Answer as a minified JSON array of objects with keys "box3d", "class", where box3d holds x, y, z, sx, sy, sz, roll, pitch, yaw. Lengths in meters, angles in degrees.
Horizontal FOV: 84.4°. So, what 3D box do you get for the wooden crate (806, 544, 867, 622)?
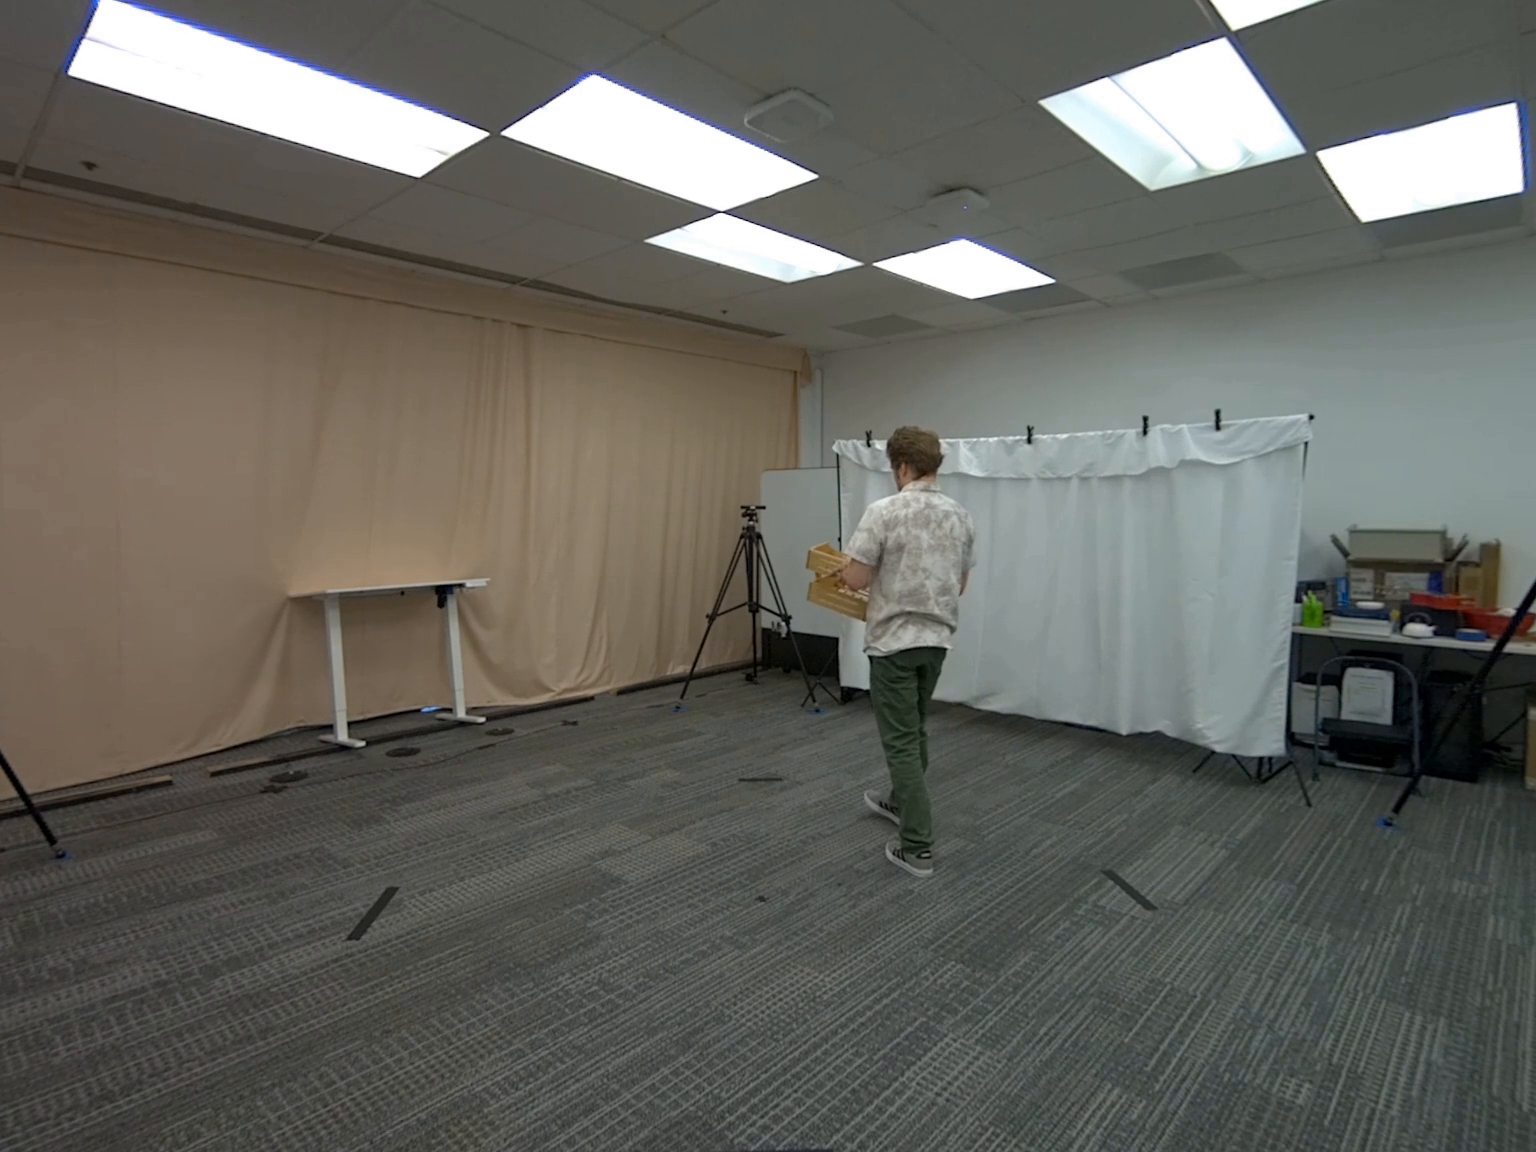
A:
[{"box3d":[0.376,0.012,3.779,0.335,0.271,0.295,19,23,31],"class":"wooden crate"}]
